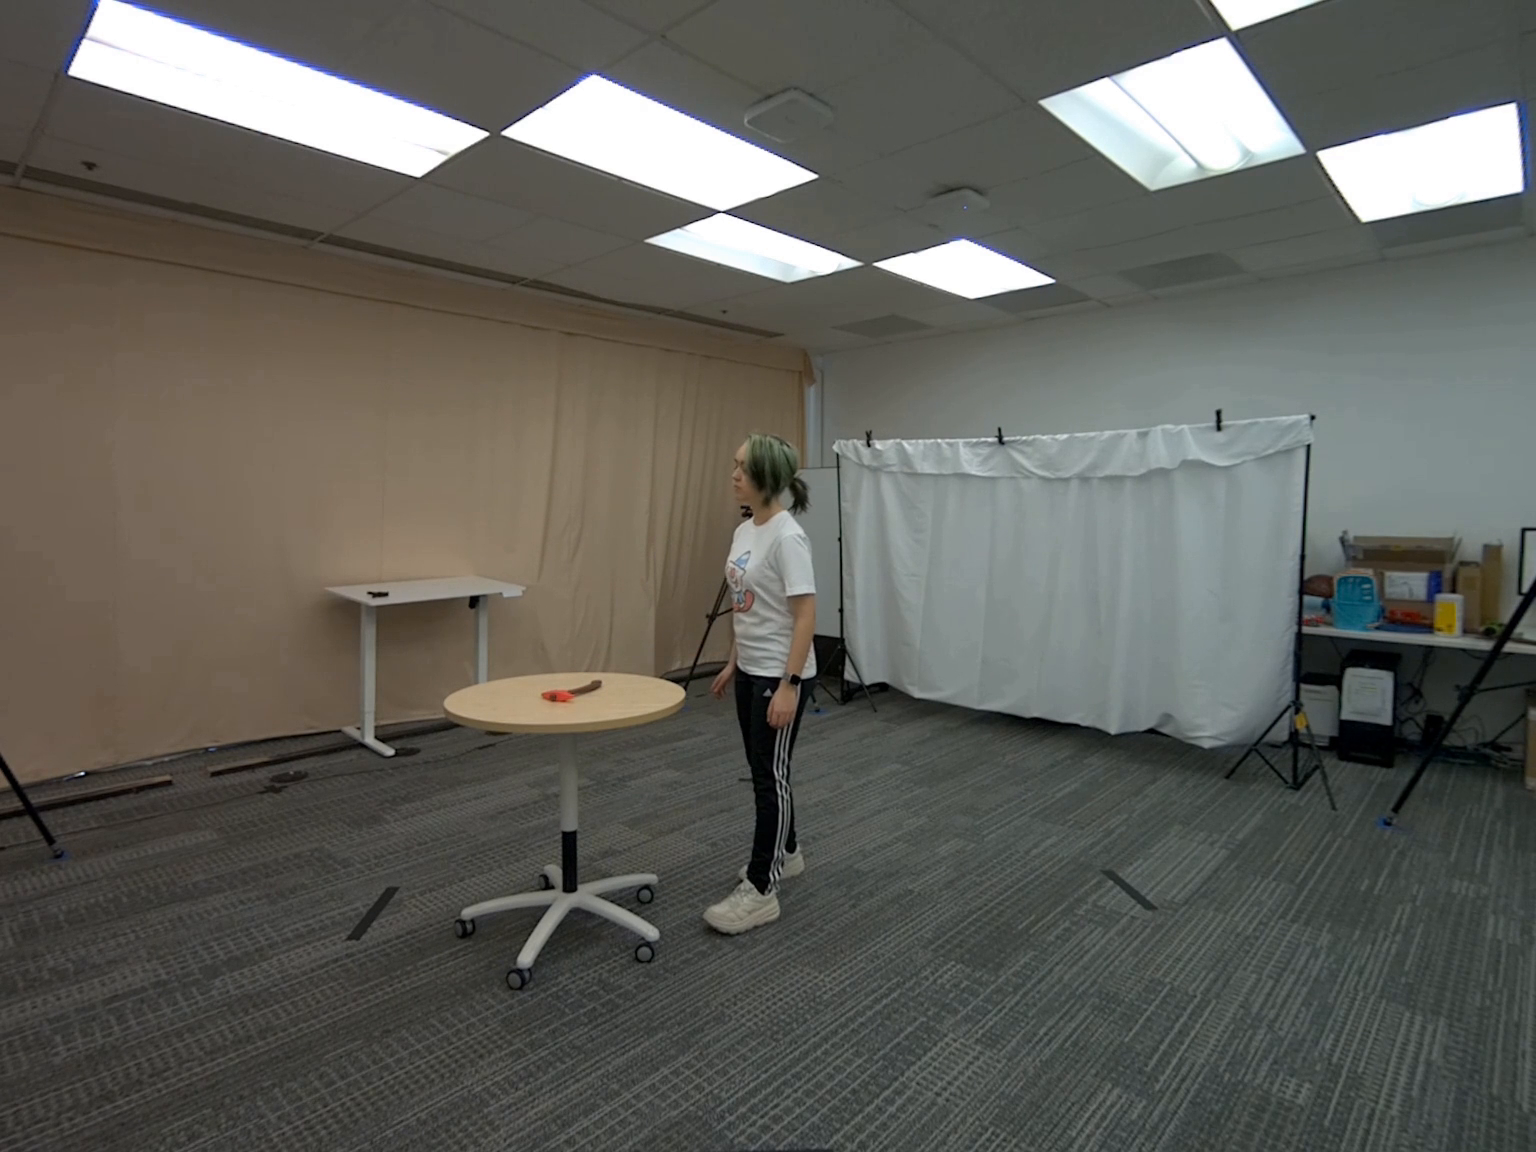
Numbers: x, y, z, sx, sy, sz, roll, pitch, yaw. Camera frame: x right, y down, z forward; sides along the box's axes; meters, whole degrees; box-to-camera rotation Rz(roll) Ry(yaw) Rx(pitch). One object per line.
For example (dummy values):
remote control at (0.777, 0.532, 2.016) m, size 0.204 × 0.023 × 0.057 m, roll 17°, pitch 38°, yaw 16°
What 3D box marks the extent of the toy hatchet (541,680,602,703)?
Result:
toy hatchet at (-0.642, 0.372, 2.750) m, size 0.132 × 0.029 × 0.267 m, roll -5°, pitch 1°, yaw 9°
